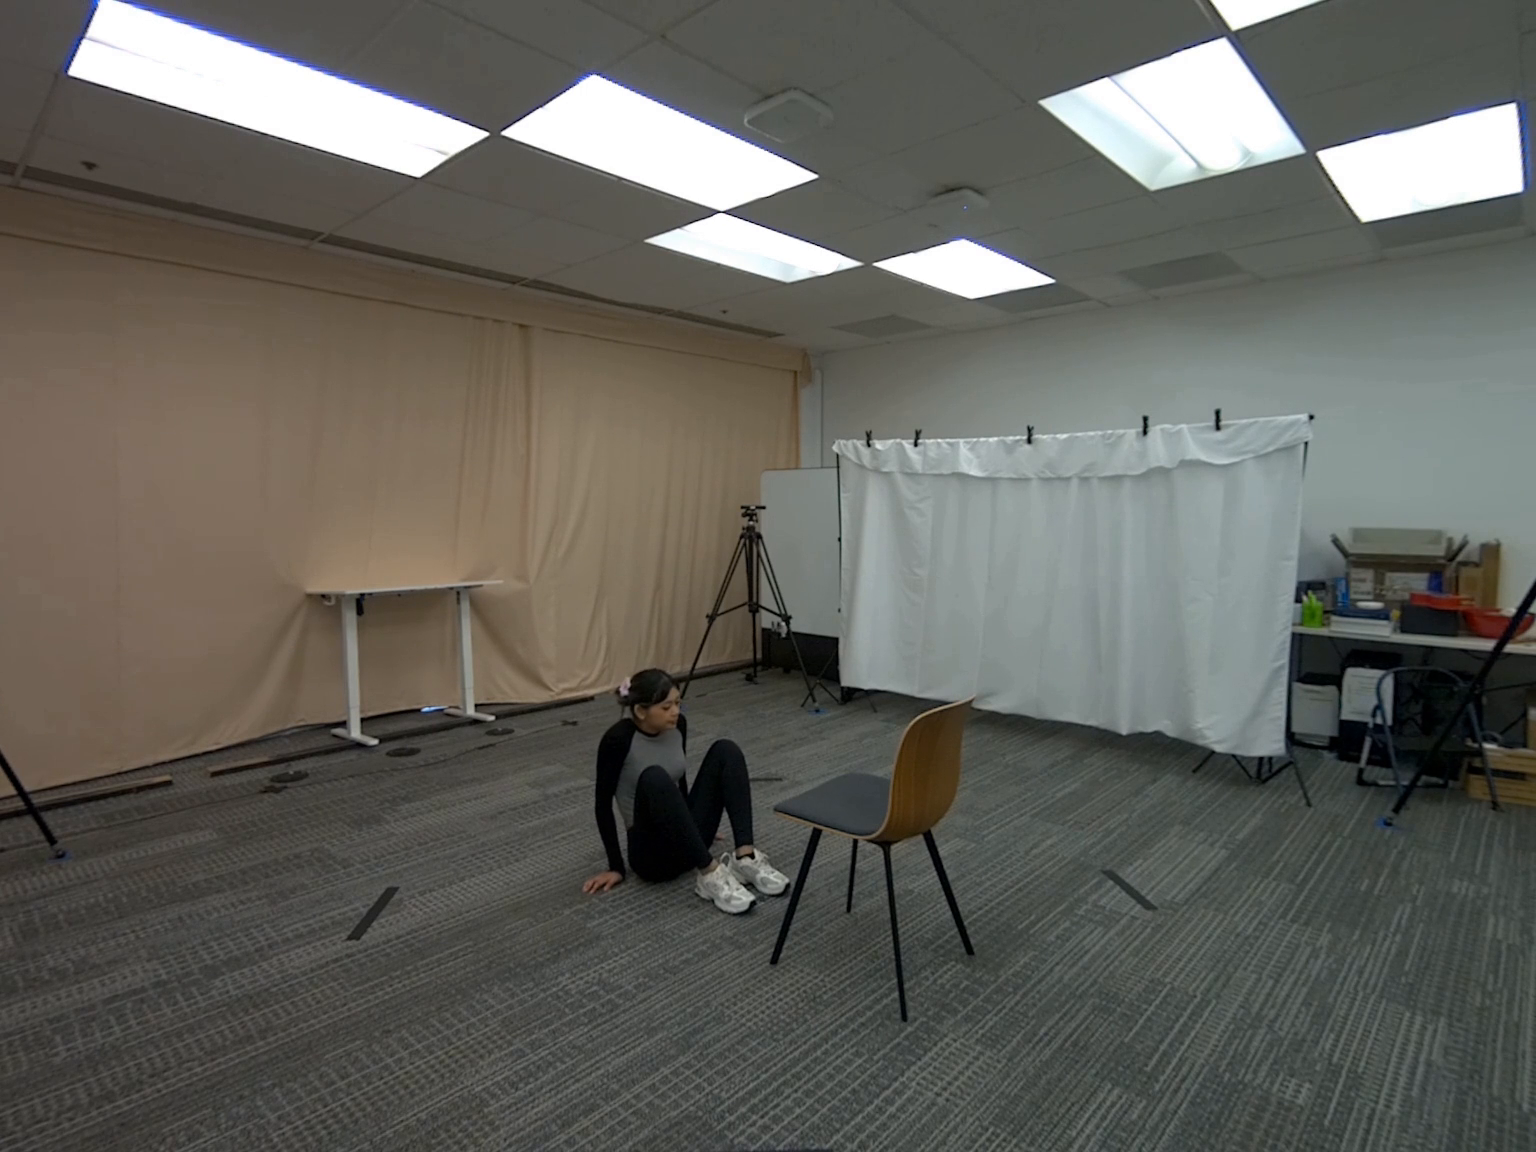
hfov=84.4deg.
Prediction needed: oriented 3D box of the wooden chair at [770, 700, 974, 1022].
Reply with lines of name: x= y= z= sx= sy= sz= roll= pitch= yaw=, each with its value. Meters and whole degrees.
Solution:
wooden chair: x=0.321 y=0.750 z=2.558 sx=0.541 sy=0.874 sz=0.464 roll=8 pitch=8 yaw=38
